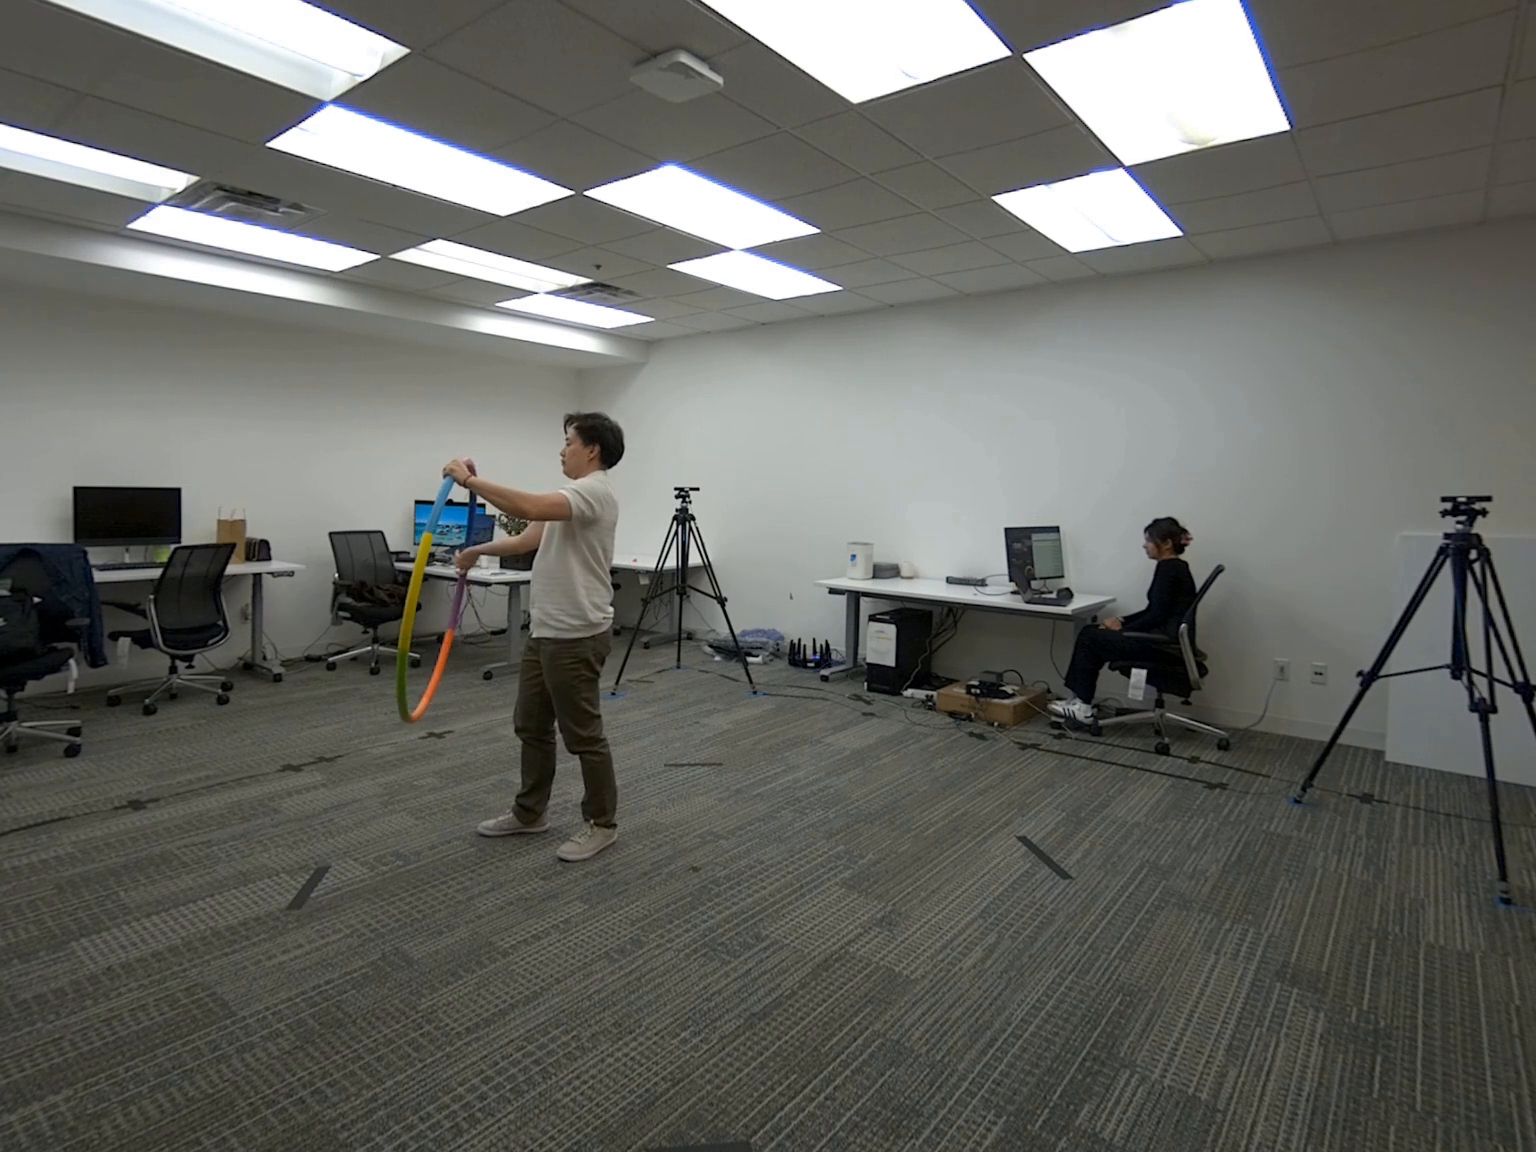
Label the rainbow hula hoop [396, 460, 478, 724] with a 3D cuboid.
[{"bbox_3d":[-1.224,0.046,3.165,0.035,0.977,0.990,11,3,-10],"label":"rainbow hula hoop"}]
